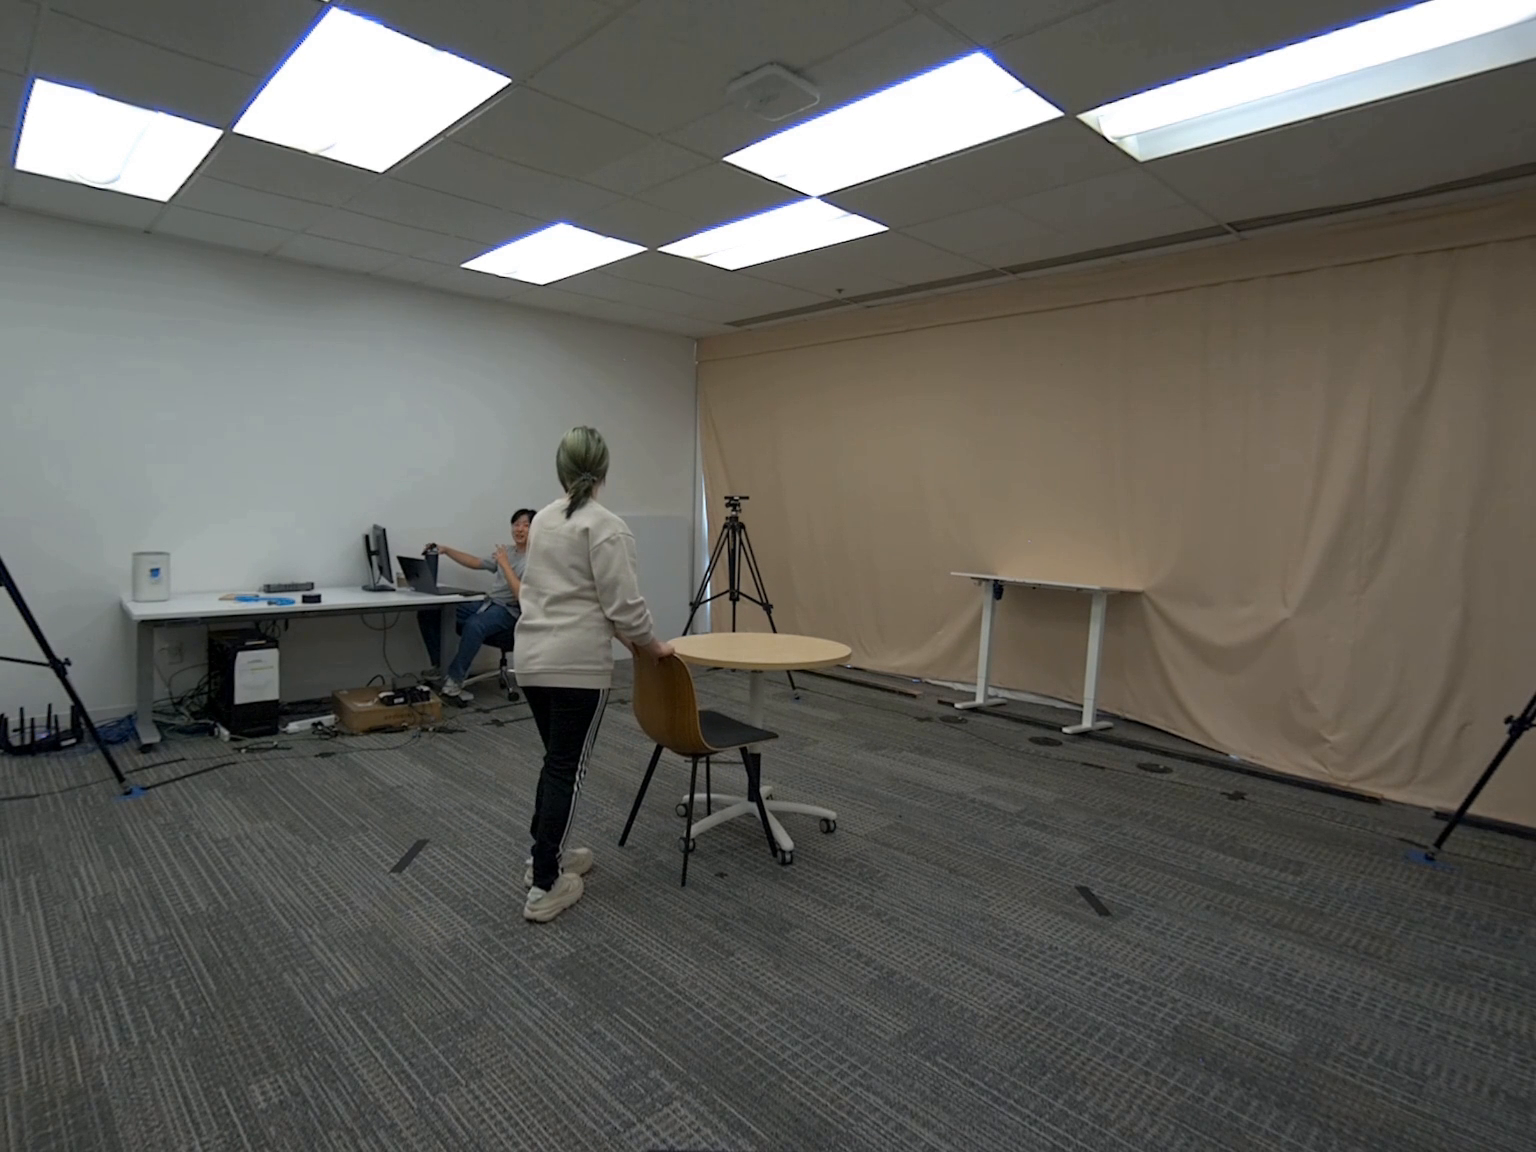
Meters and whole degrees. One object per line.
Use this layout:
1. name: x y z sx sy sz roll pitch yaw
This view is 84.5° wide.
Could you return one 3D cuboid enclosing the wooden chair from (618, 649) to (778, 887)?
1. wooden chair: -0.265 0.660 3.276 0.512 0.874 0.490 -6 7 -38
